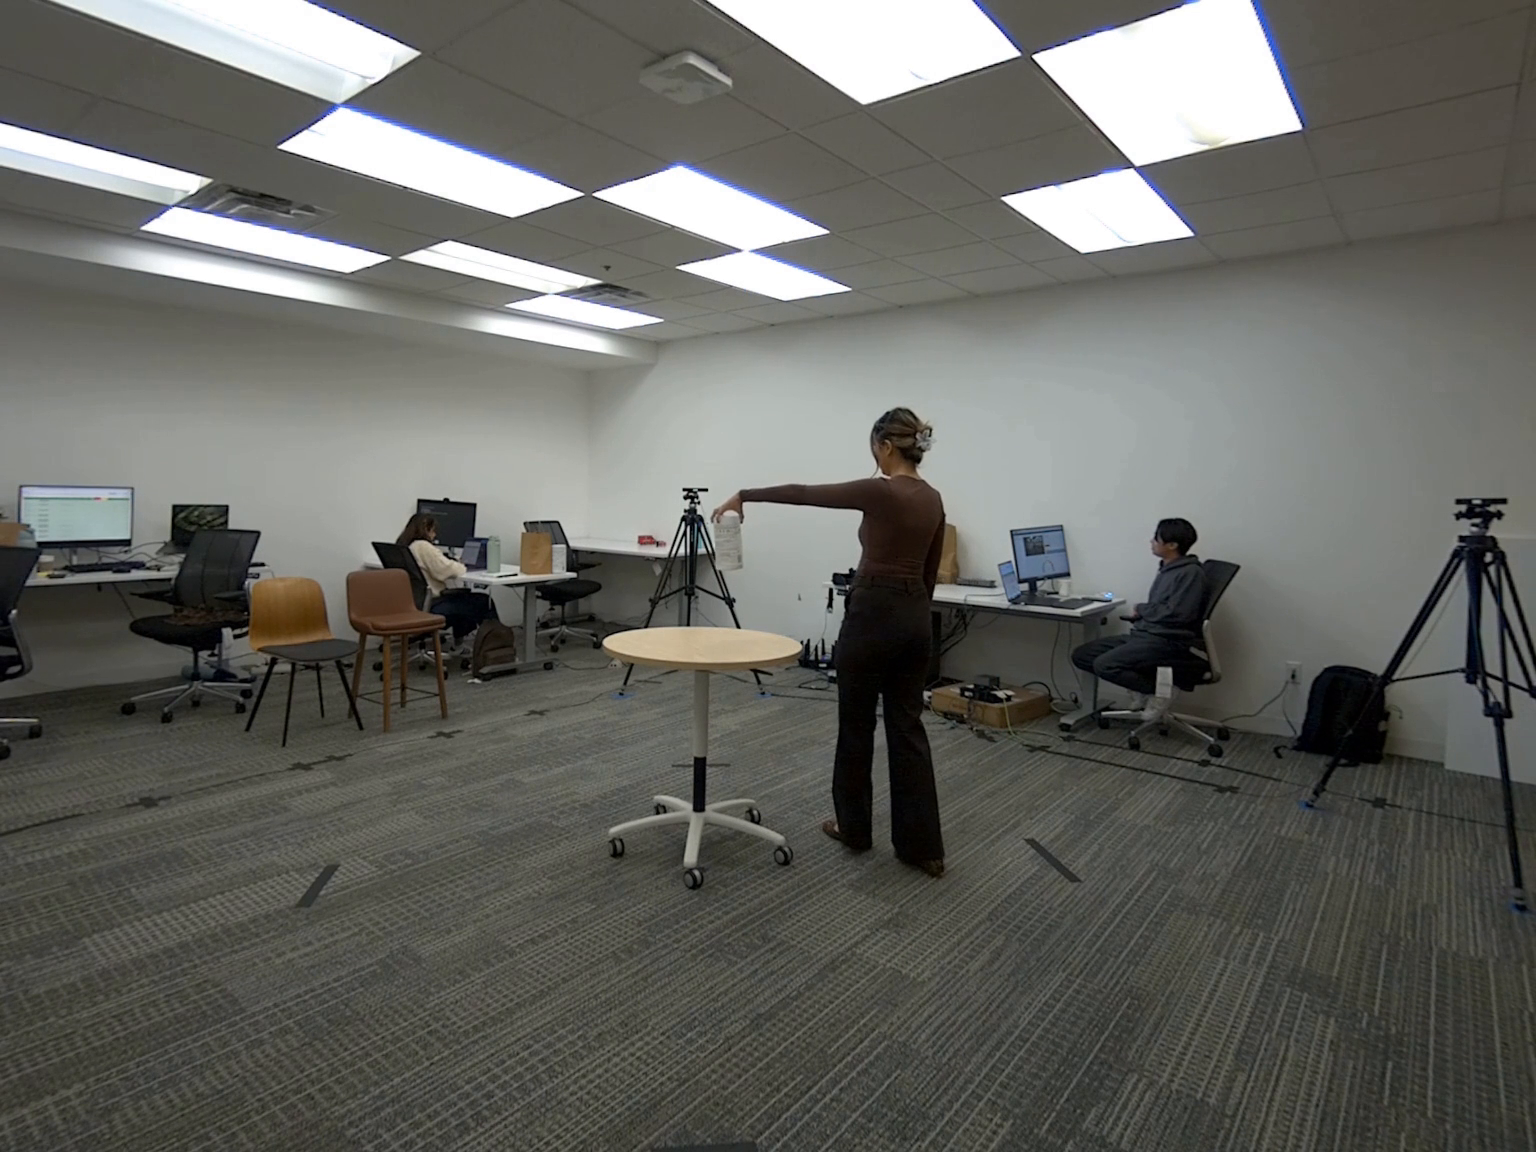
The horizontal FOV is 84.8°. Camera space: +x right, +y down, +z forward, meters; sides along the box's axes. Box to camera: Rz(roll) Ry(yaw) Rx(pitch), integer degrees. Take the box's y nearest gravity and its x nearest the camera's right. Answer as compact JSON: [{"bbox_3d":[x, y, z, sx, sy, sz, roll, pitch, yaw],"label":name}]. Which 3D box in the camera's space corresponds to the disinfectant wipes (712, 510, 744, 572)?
[{"bbox_3d":[-0.168,-0.138,3.408,0.118,0.216,0.119,-3,7,-1],"label":"disinfectant wipes"}]
